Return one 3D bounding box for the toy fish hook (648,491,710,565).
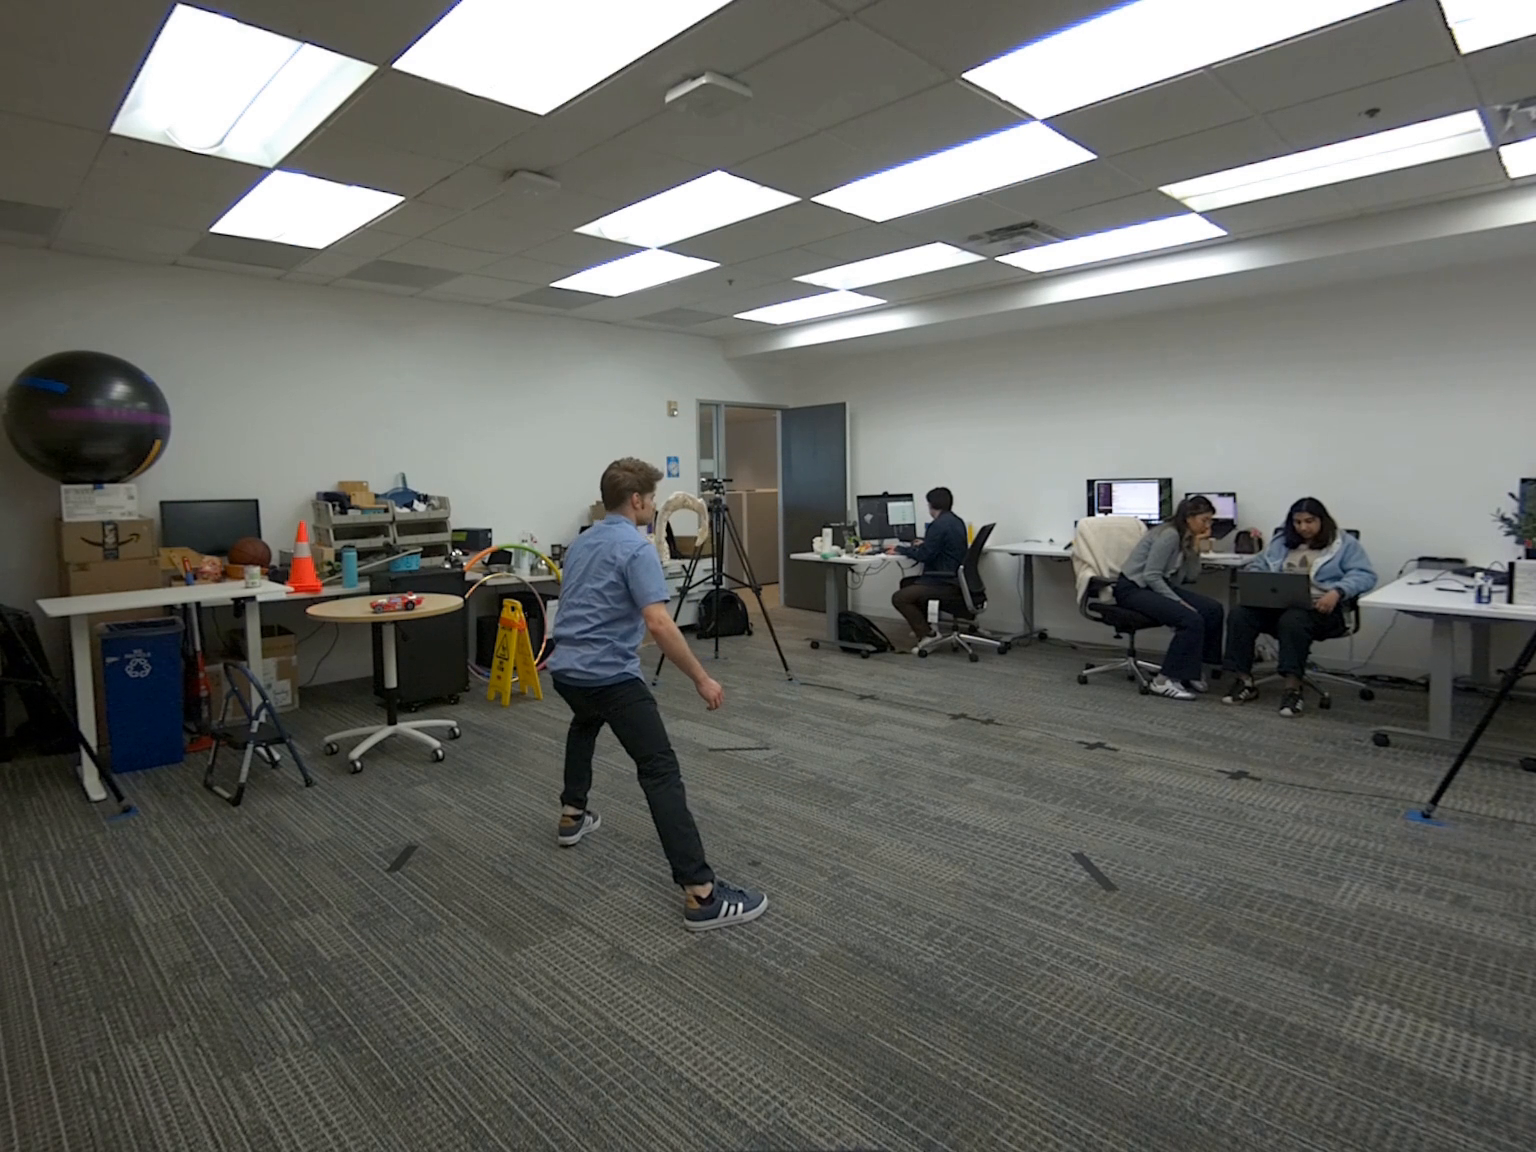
[{"bbox_3d":[-0.391,-0.099,3.531,0.222,0.509,0.048,21,-8,-7],"label":"toy fish hook"}]
